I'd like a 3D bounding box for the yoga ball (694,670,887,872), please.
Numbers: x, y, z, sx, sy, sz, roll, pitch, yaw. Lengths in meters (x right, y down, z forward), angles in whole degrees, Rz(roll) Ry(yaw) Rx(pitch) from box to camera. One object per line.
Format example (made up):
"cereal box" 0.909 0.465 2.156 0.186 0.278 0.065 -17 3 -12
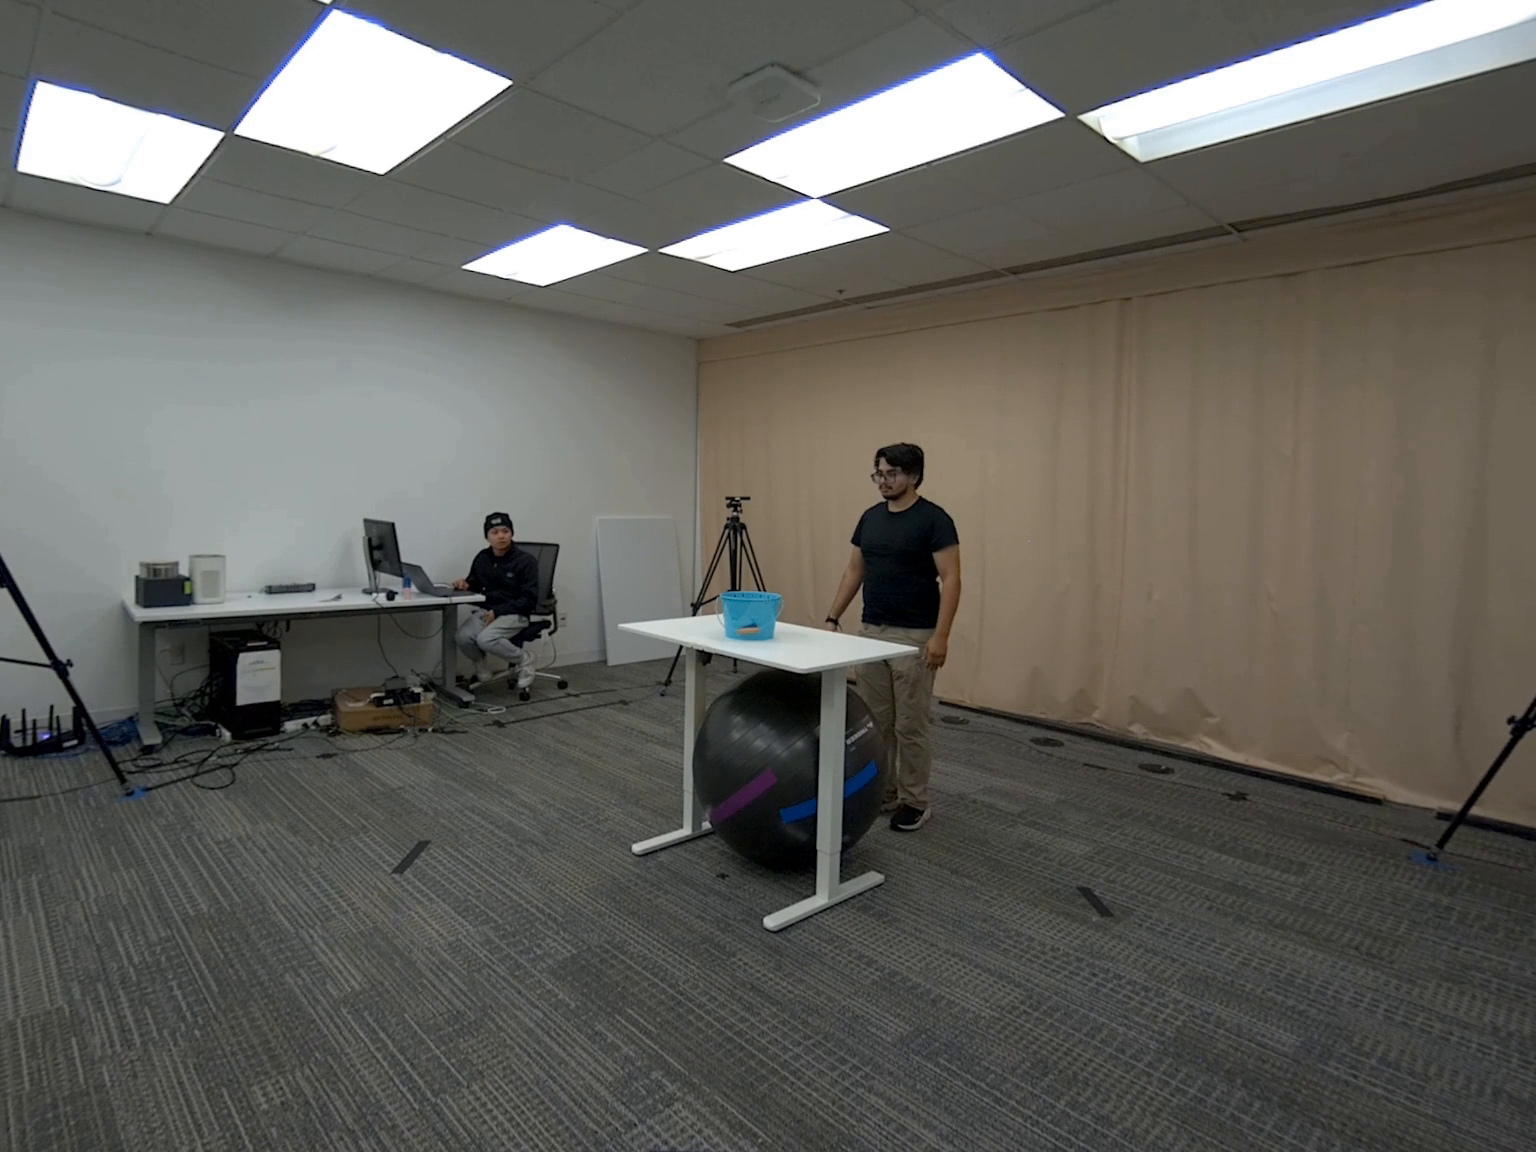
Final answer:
"yoga ball" 0.085 0.741 3.279 0.757 0.756 0.761 1 4 -1
